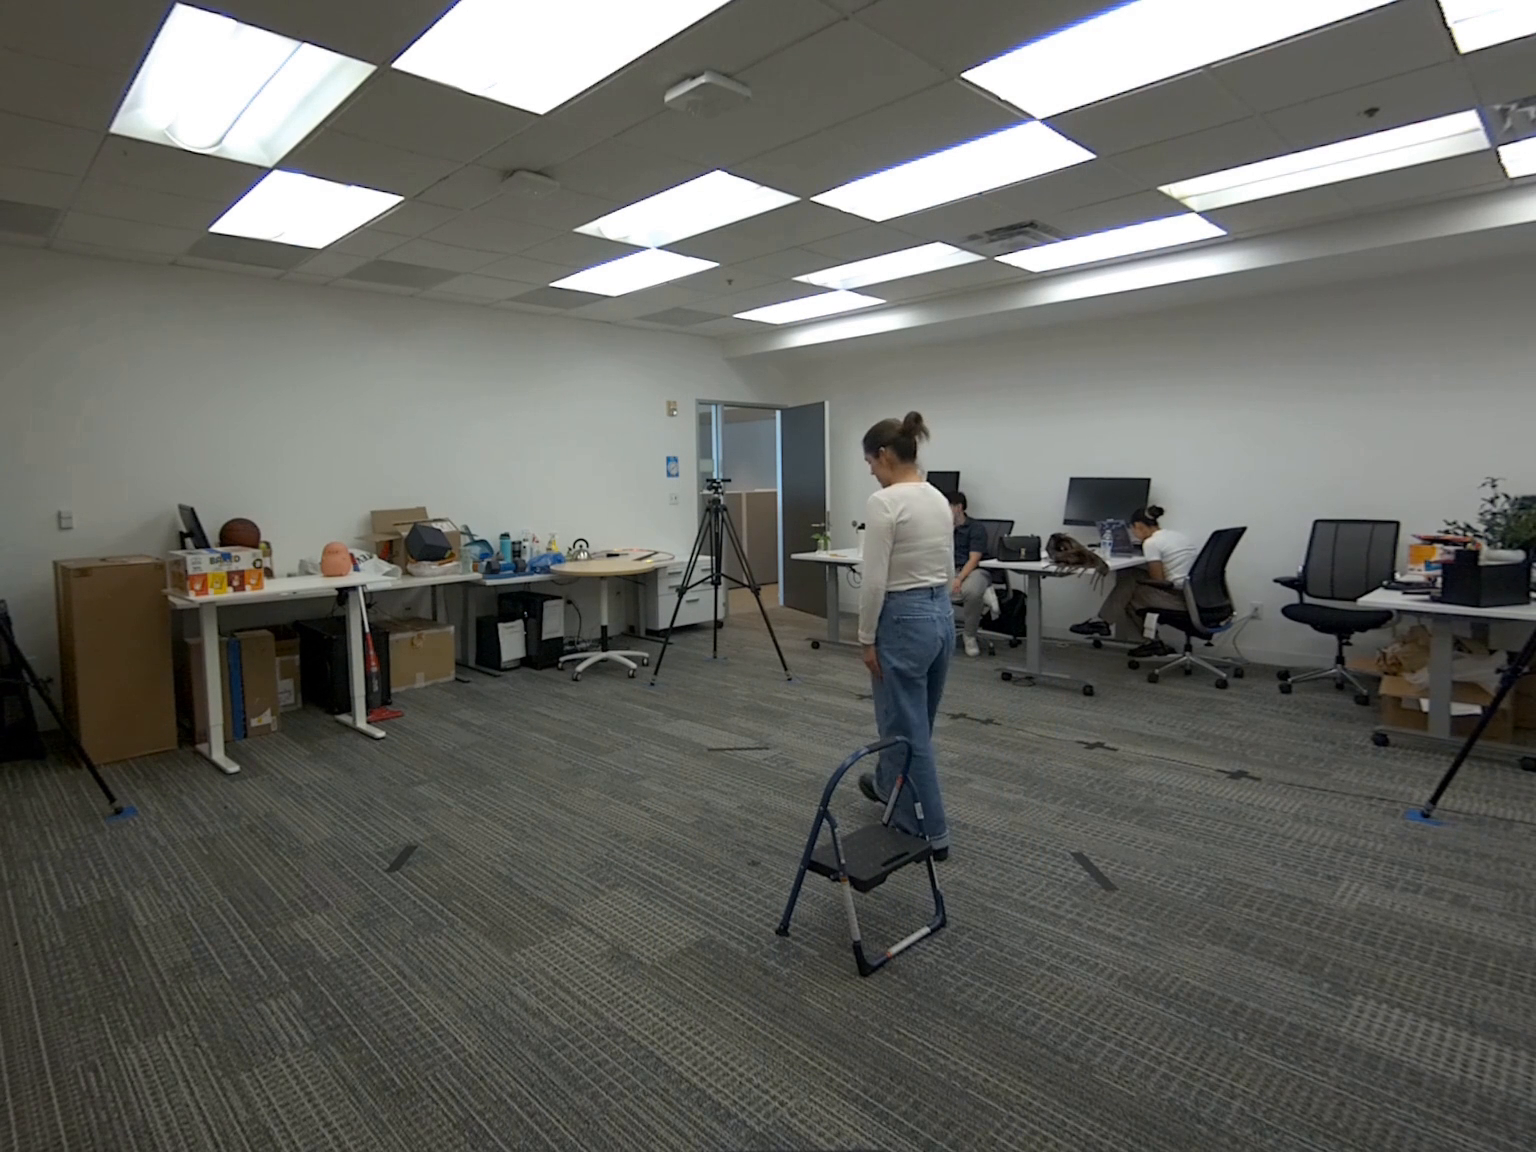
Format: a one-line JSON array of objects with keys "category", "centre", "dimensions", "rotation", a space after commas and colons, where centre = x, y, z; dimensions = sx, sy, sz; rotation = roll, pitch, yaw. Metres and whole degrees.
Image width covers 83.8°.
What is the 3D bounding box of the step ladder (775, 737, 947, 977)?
[{"category": "step ladder", "centre": [0.288, 0.791, 2.625], "dimensions": [0.360, 0.603, 0.419], "rotation": [4, 7, 45]}]
